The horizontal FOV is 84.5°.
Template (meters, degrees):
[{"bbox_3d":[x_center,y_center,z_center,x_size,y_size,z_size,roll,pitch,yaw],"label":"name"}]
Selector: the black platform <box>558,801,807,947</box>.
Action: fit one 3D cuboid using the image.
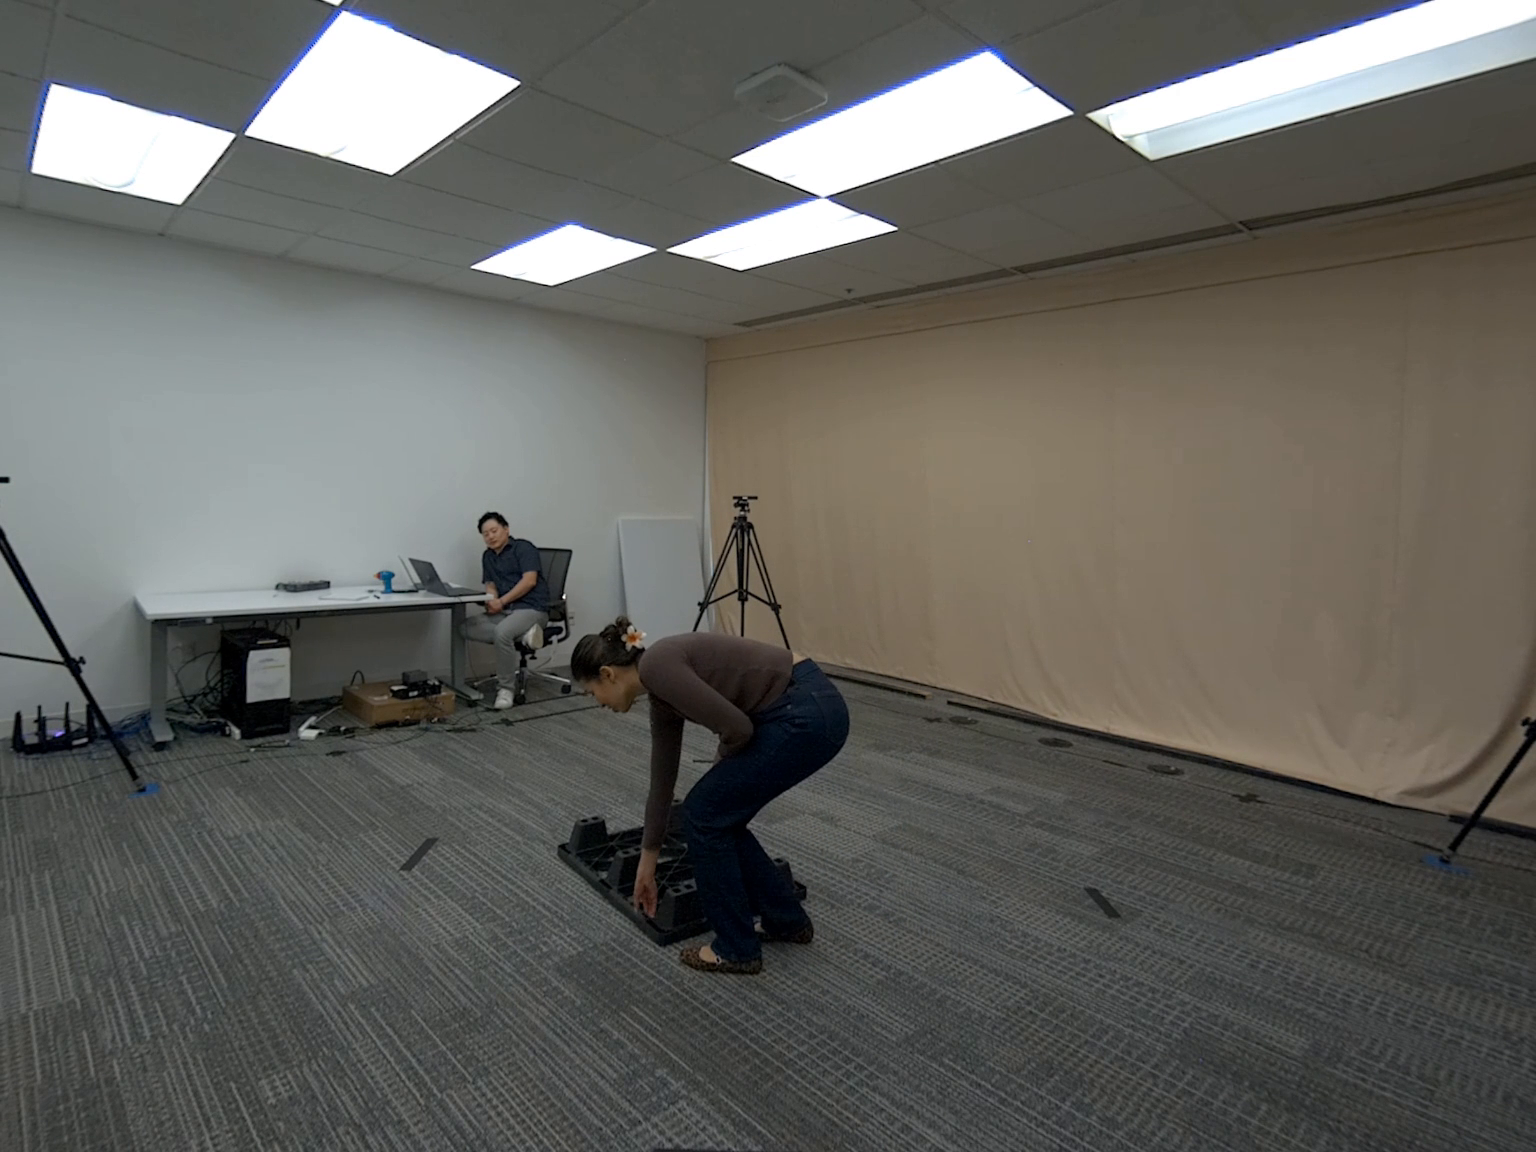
[{"bbox_3d":[-0.336,1.031,3.080,0.592,0.143,0.826,-4,8,-37],"label":"black platform"}]
